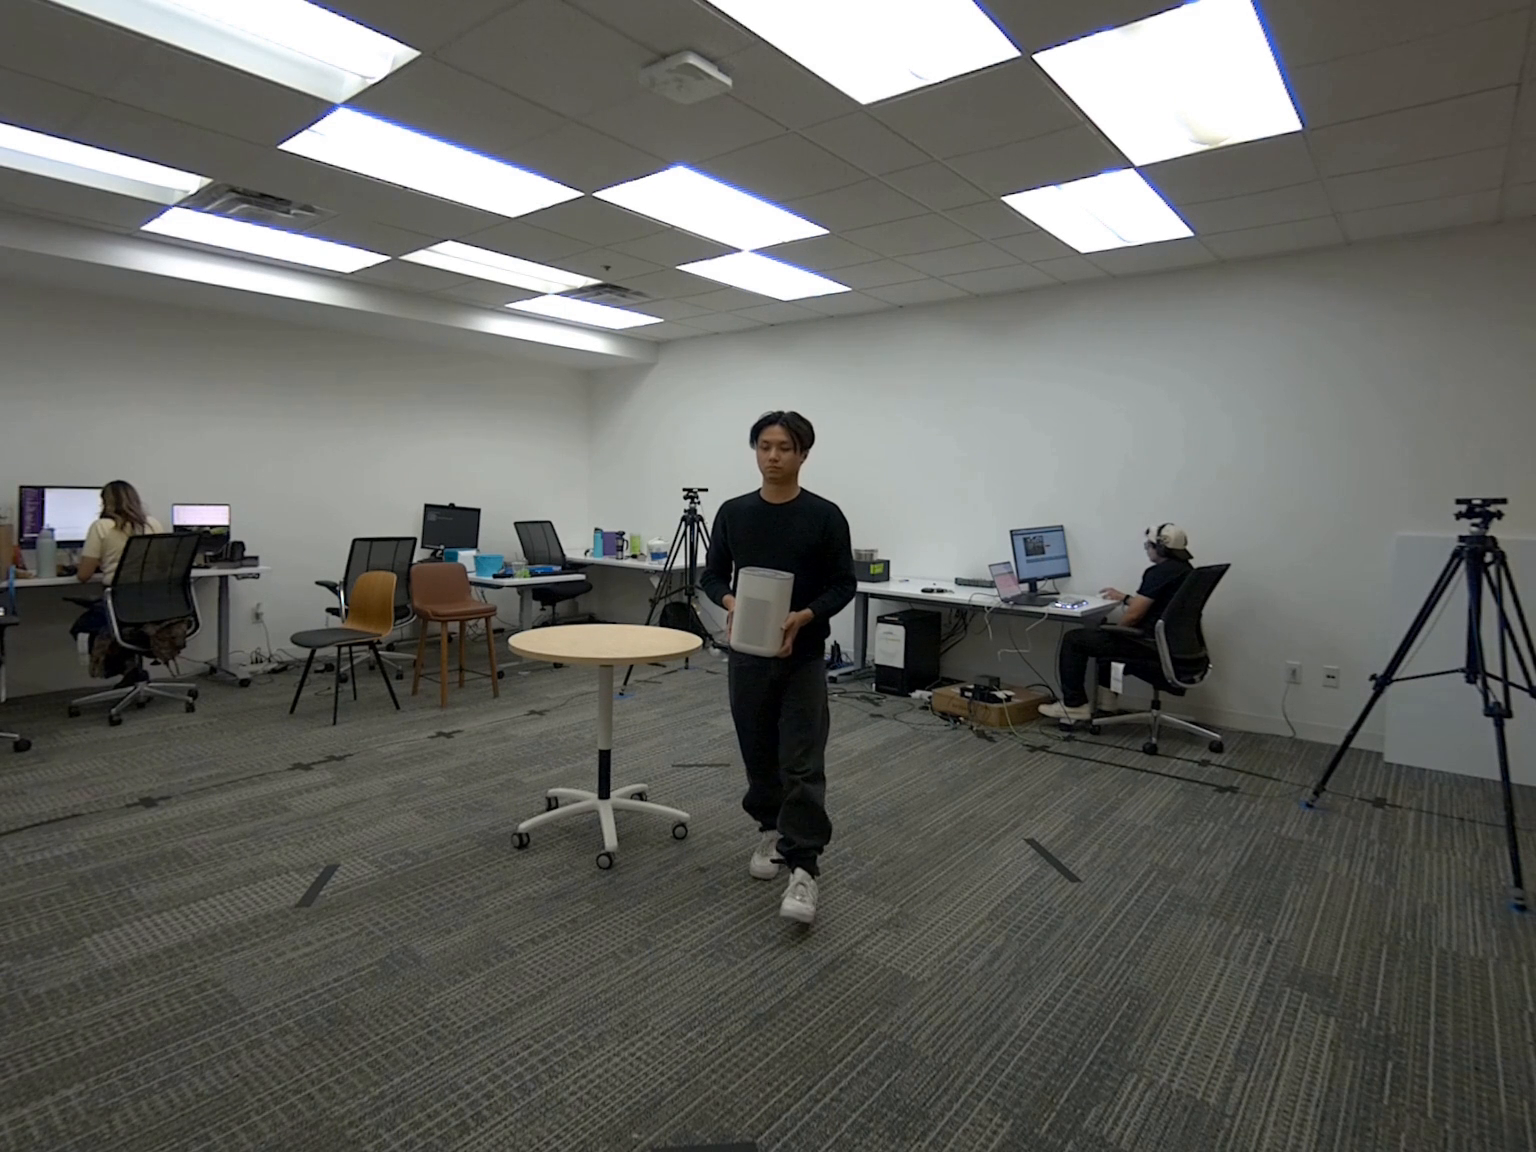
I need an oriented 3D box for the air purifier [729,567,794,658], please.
[{"bbox_3d":[-0.022,0.112,2.797,0.175,0.264,0.169,8,6,15],"label":"air purifier"}]
